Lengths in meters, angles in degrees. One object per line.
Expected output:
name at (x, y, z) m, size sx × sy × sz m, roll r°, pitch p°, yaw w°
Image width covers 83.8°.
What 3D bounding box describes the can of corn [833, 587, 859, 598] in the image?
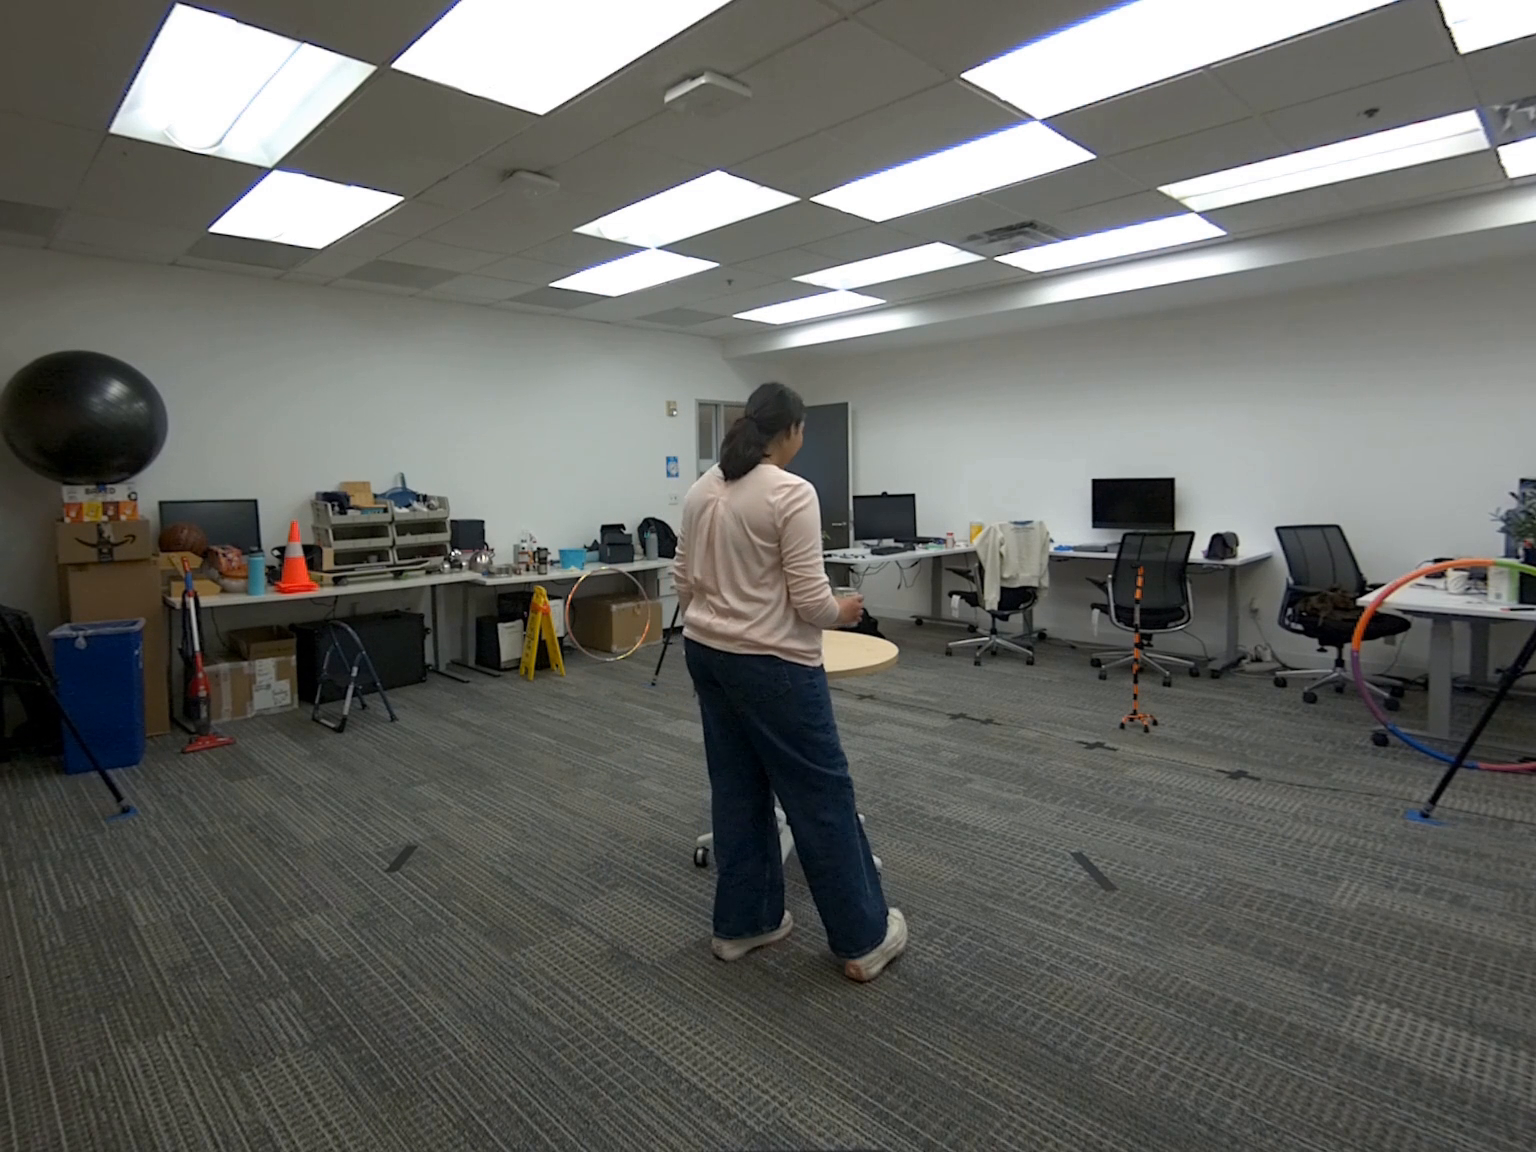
can of corn at (0.250, 0.091, 2.600) m, size 0.074 × 0.110 × 0.074 m, roll -1°, pitch 4°, yaw -2°
